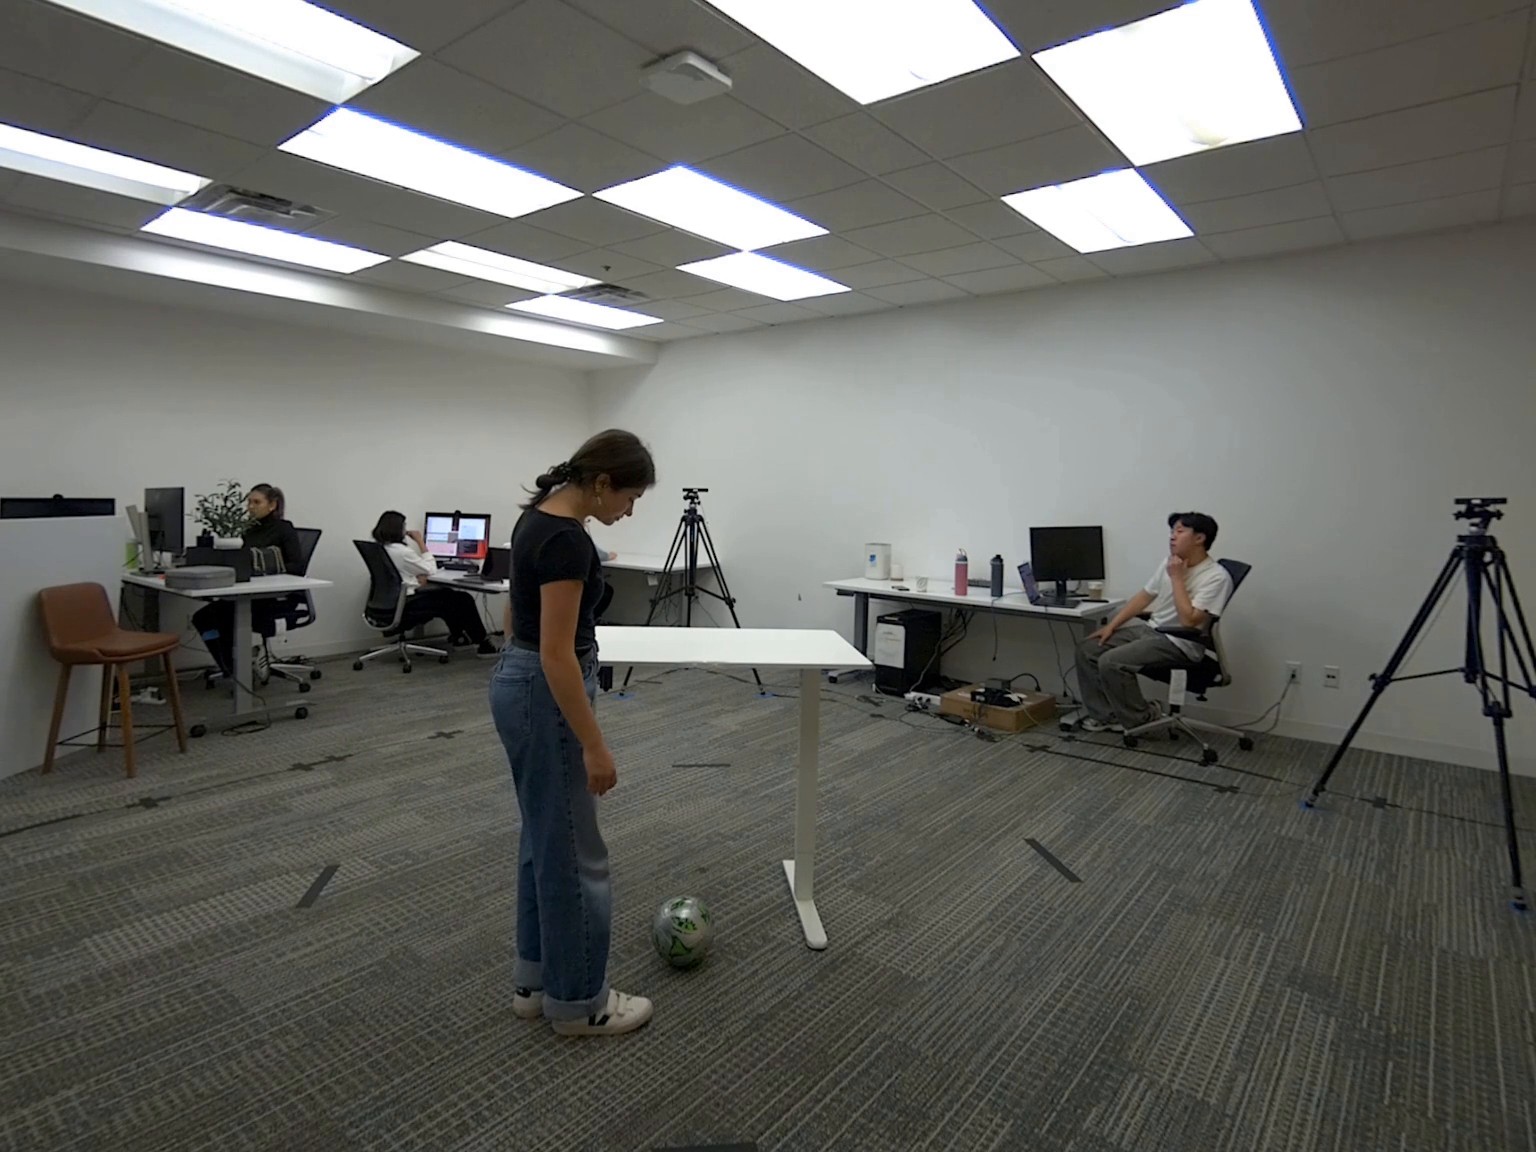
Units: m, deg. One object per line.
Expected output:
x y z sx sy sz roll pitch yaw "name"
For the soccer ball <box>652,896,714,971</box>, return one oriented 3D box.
-0.251 1.033 2.496 0.187 0.187 0.188 1 4 -2 "soccer ball"
